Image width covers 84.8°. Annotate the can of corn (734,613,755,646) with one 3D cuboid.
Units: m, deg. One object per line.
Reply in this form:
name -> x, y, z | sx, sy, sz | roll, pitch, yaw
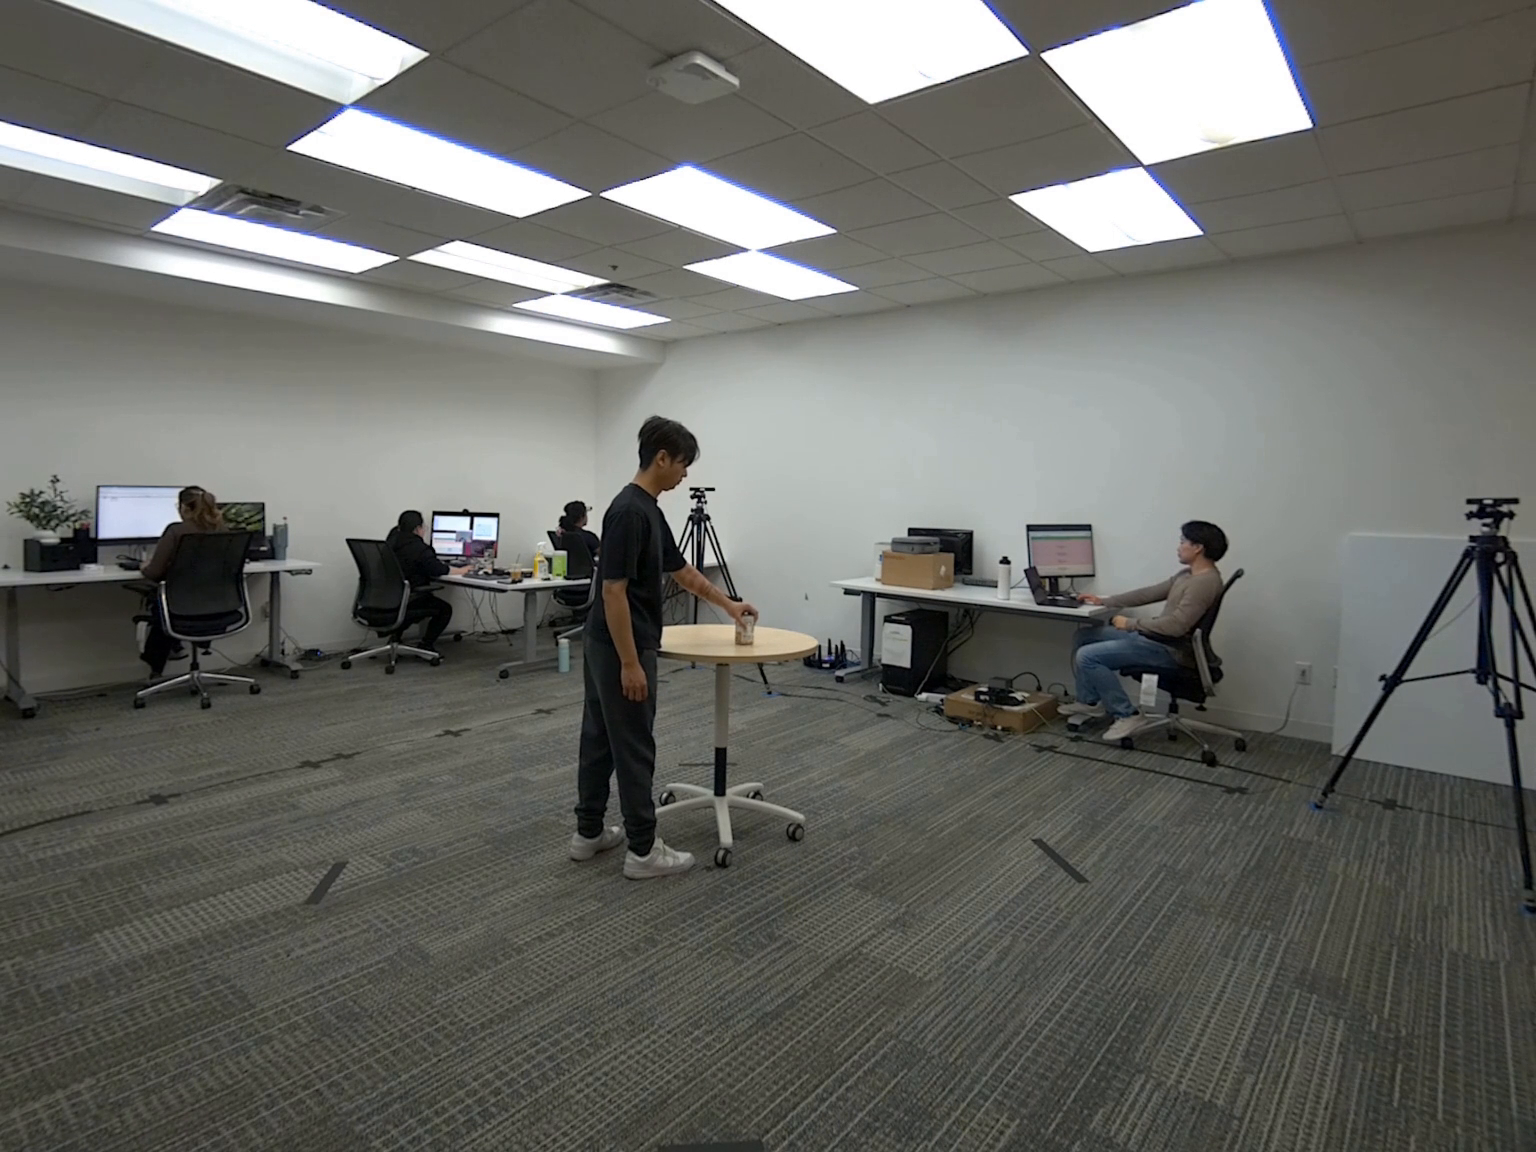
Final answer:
can of corn -> -0.105, 0.207, 3.349 | 0.074, 0.111, 0.074 | -1, 0, -2
